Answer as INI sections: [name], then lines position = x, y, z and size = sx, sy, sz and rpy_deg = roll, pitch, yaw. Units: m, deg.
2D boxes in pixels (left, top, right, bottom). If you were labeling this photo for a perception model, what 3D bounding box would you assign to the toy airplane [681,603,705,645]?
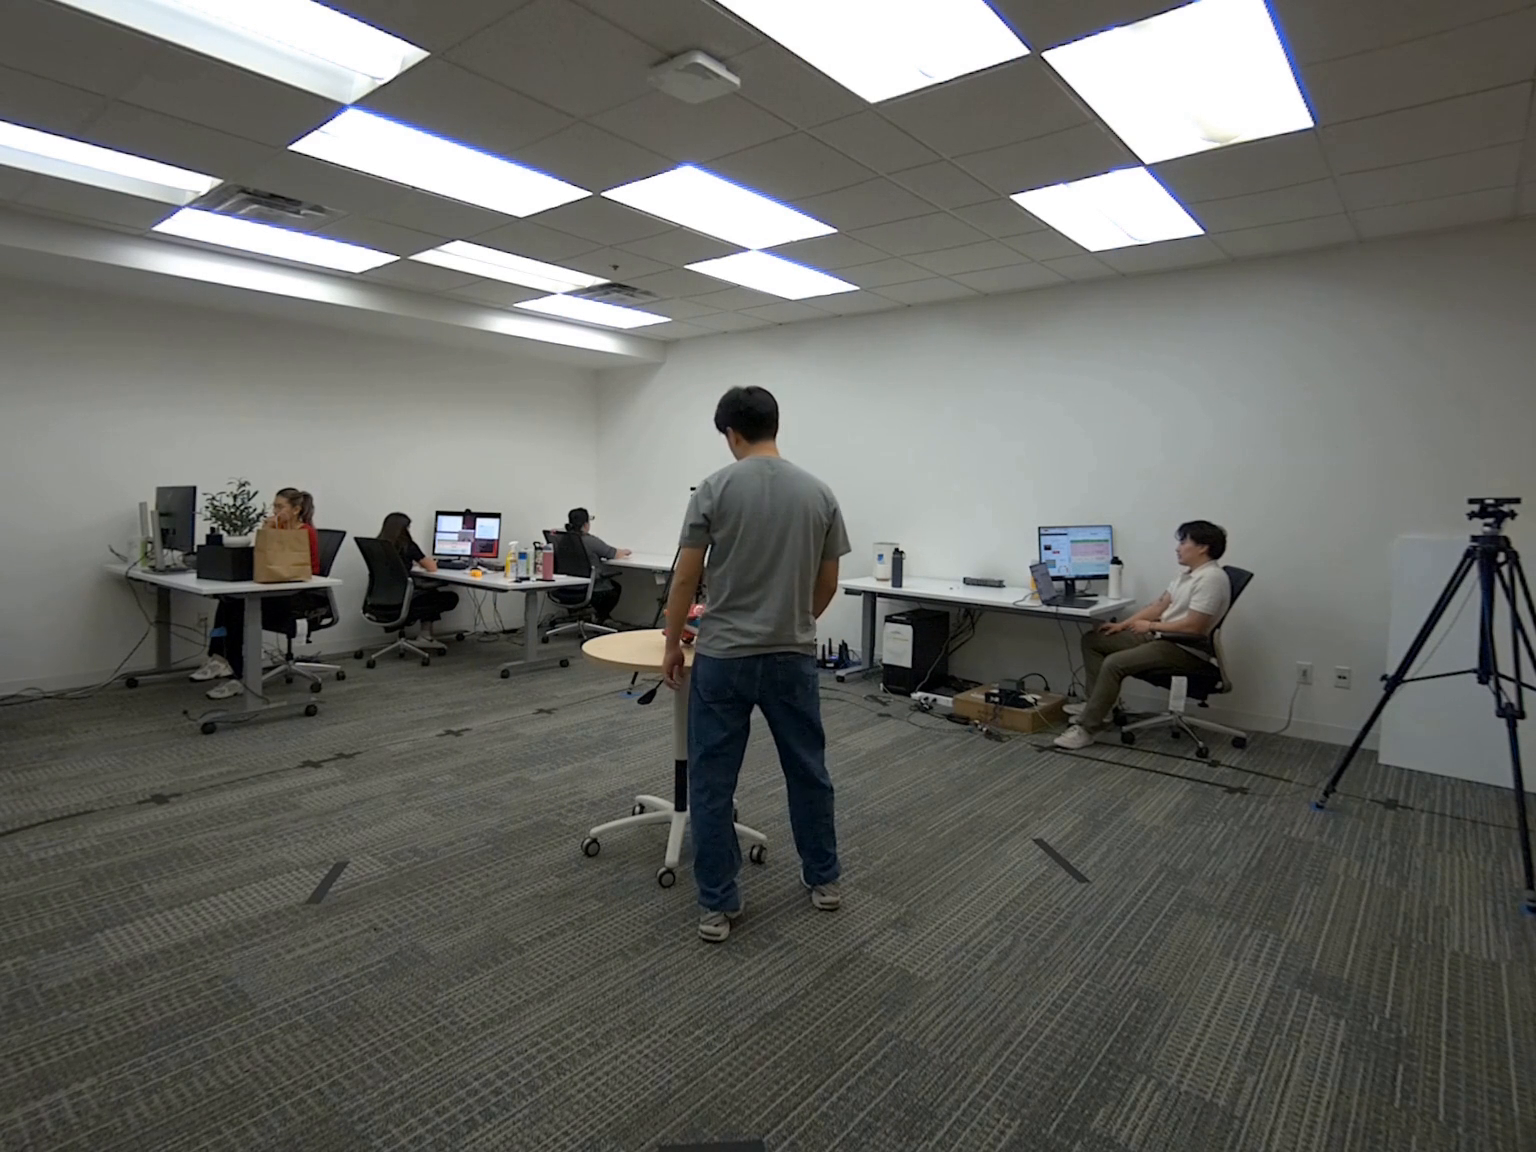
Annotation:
[toy airplane]
position = -0.268, 0.190, 3.237
size = 0.262, 0.156, 0.250
rpy_deg = 0, 6, 8
